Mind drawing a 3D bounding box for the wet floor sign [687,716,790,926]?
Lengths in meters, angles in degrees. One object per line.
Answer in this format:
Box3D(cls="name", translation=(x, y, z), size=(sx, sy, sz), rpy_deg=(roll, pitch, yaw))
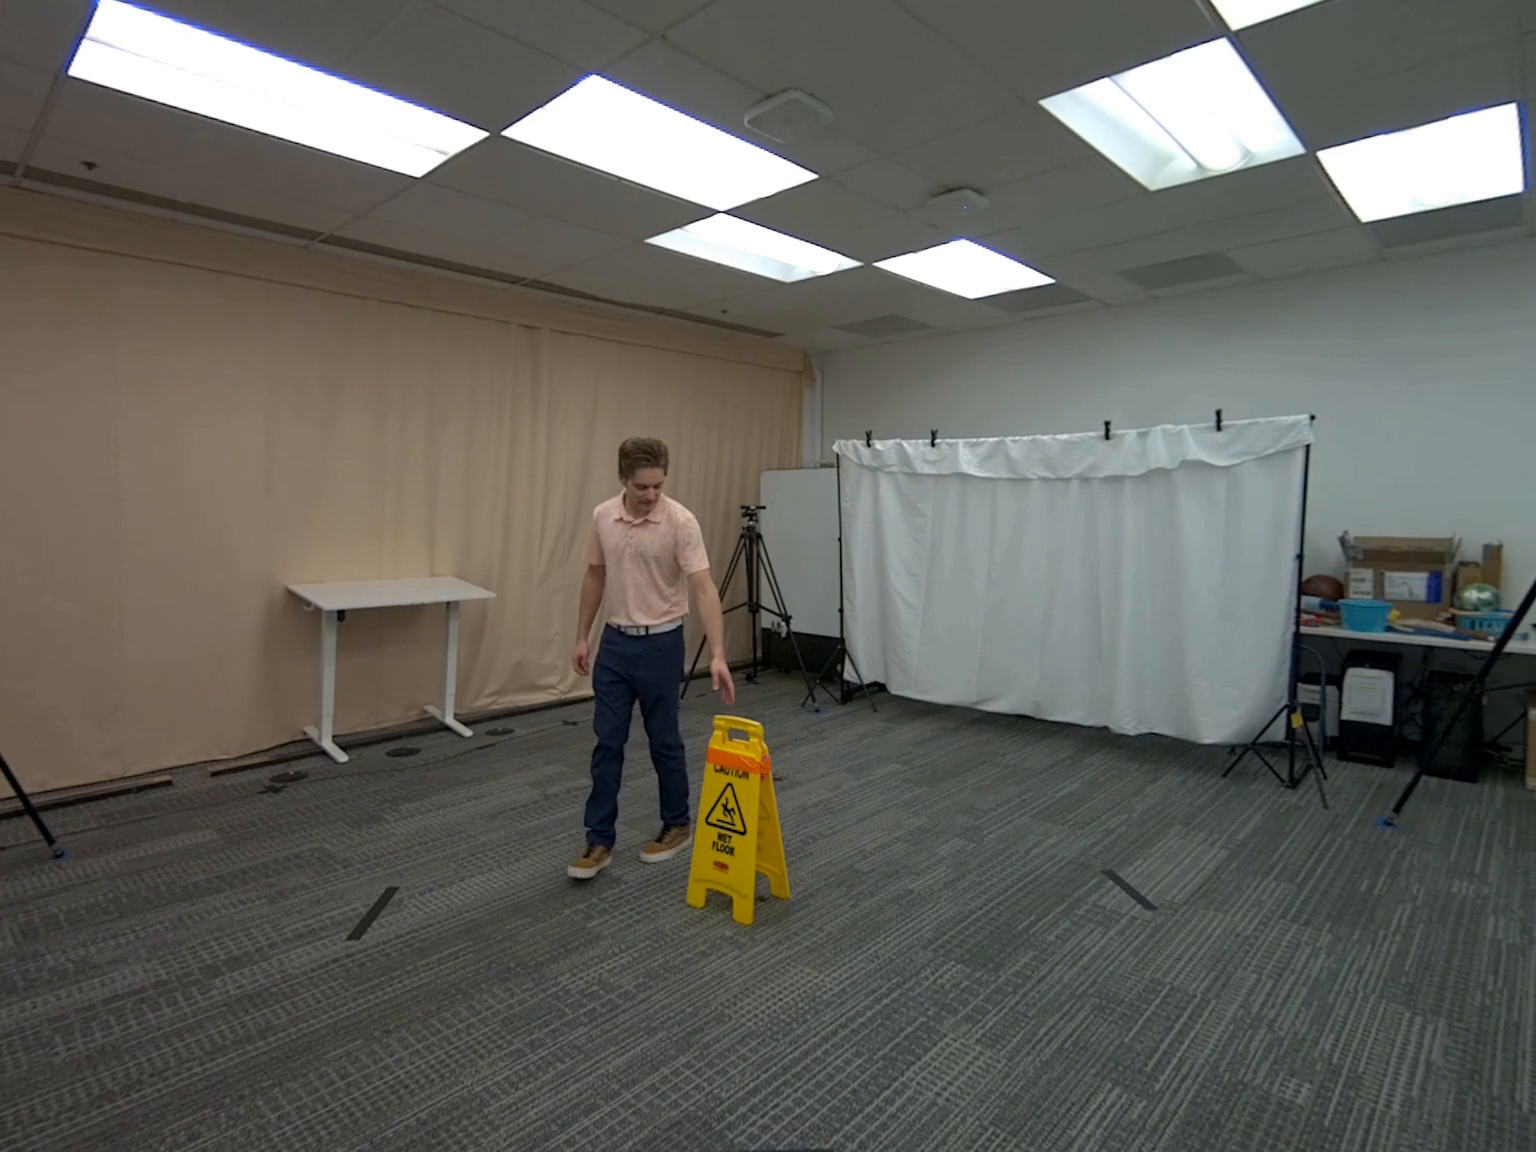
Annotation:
Box3D(cls="wet floor sign", translation=(-0.099, 0.821, 2.954), size=(0.291, 0.645, 0.281), rpy_deg=(3, 3, 36))
